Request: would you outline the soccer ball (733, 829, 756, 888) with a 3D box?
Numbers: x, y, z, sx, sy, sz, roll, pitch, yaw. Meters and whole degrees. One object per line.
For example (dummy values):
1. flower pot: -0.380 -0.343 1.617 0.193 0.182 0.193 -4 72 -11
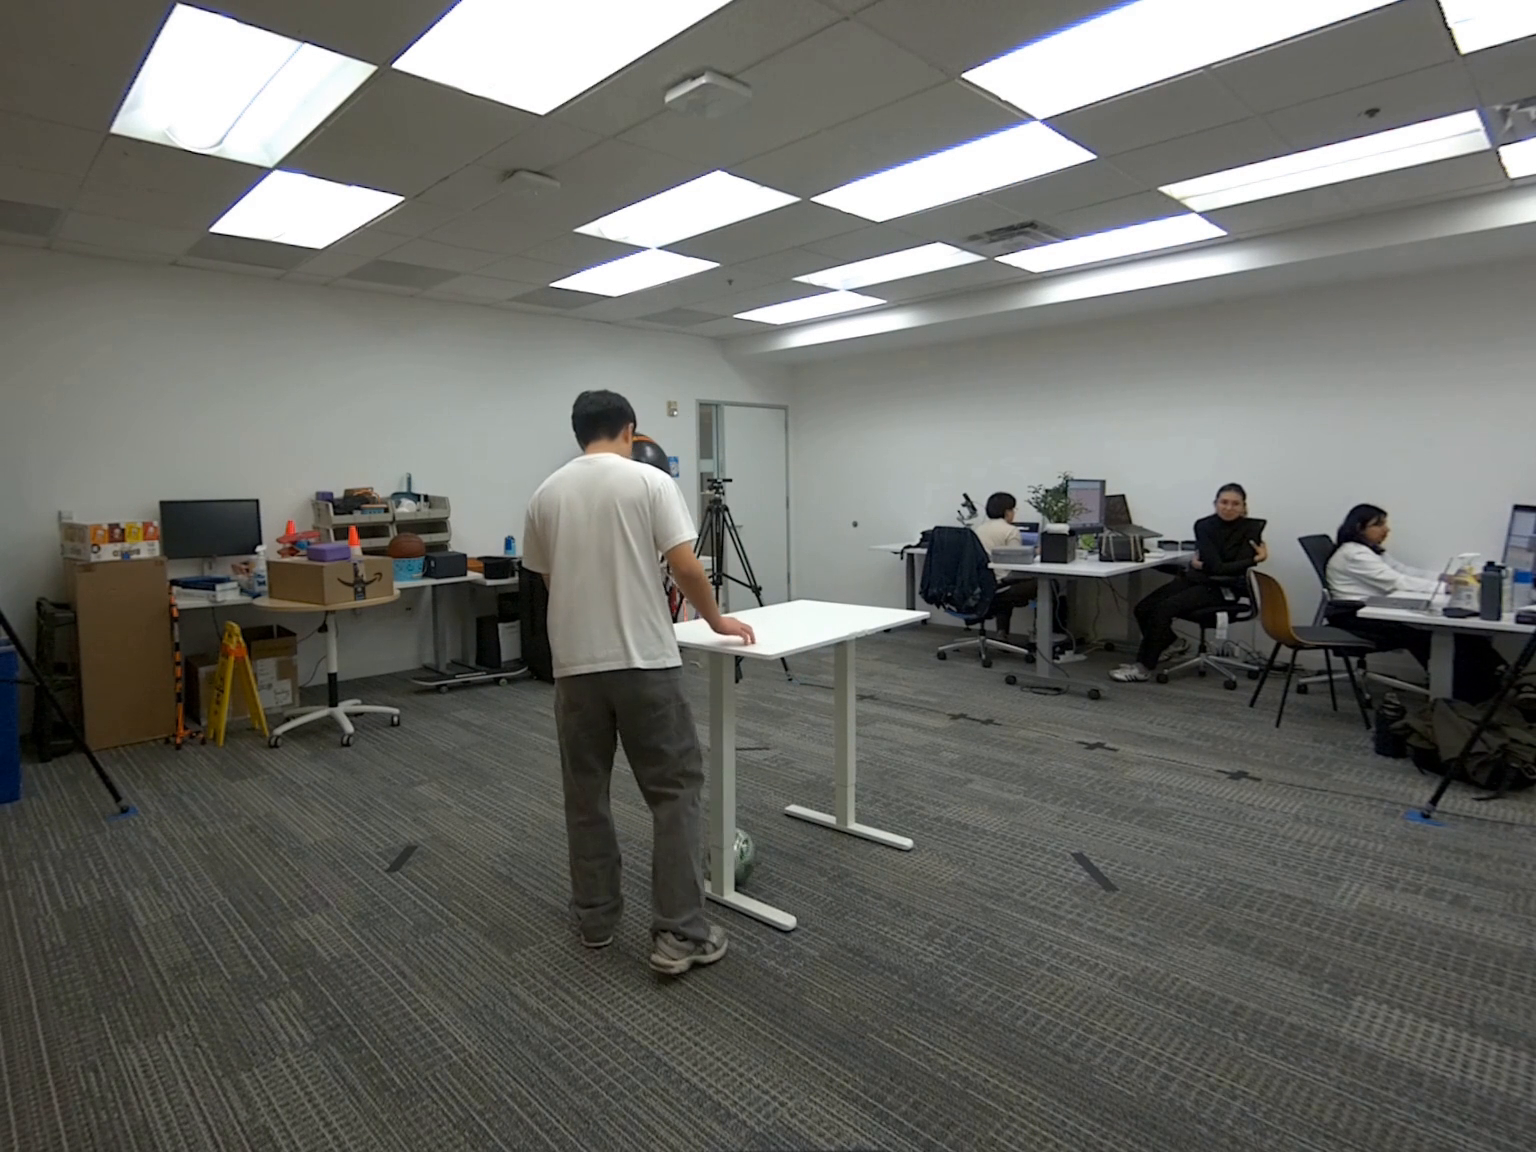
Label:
1. soccer ball: -0.121 0.975 2.966 0.187 0.187 0.188 -1 5 -2
